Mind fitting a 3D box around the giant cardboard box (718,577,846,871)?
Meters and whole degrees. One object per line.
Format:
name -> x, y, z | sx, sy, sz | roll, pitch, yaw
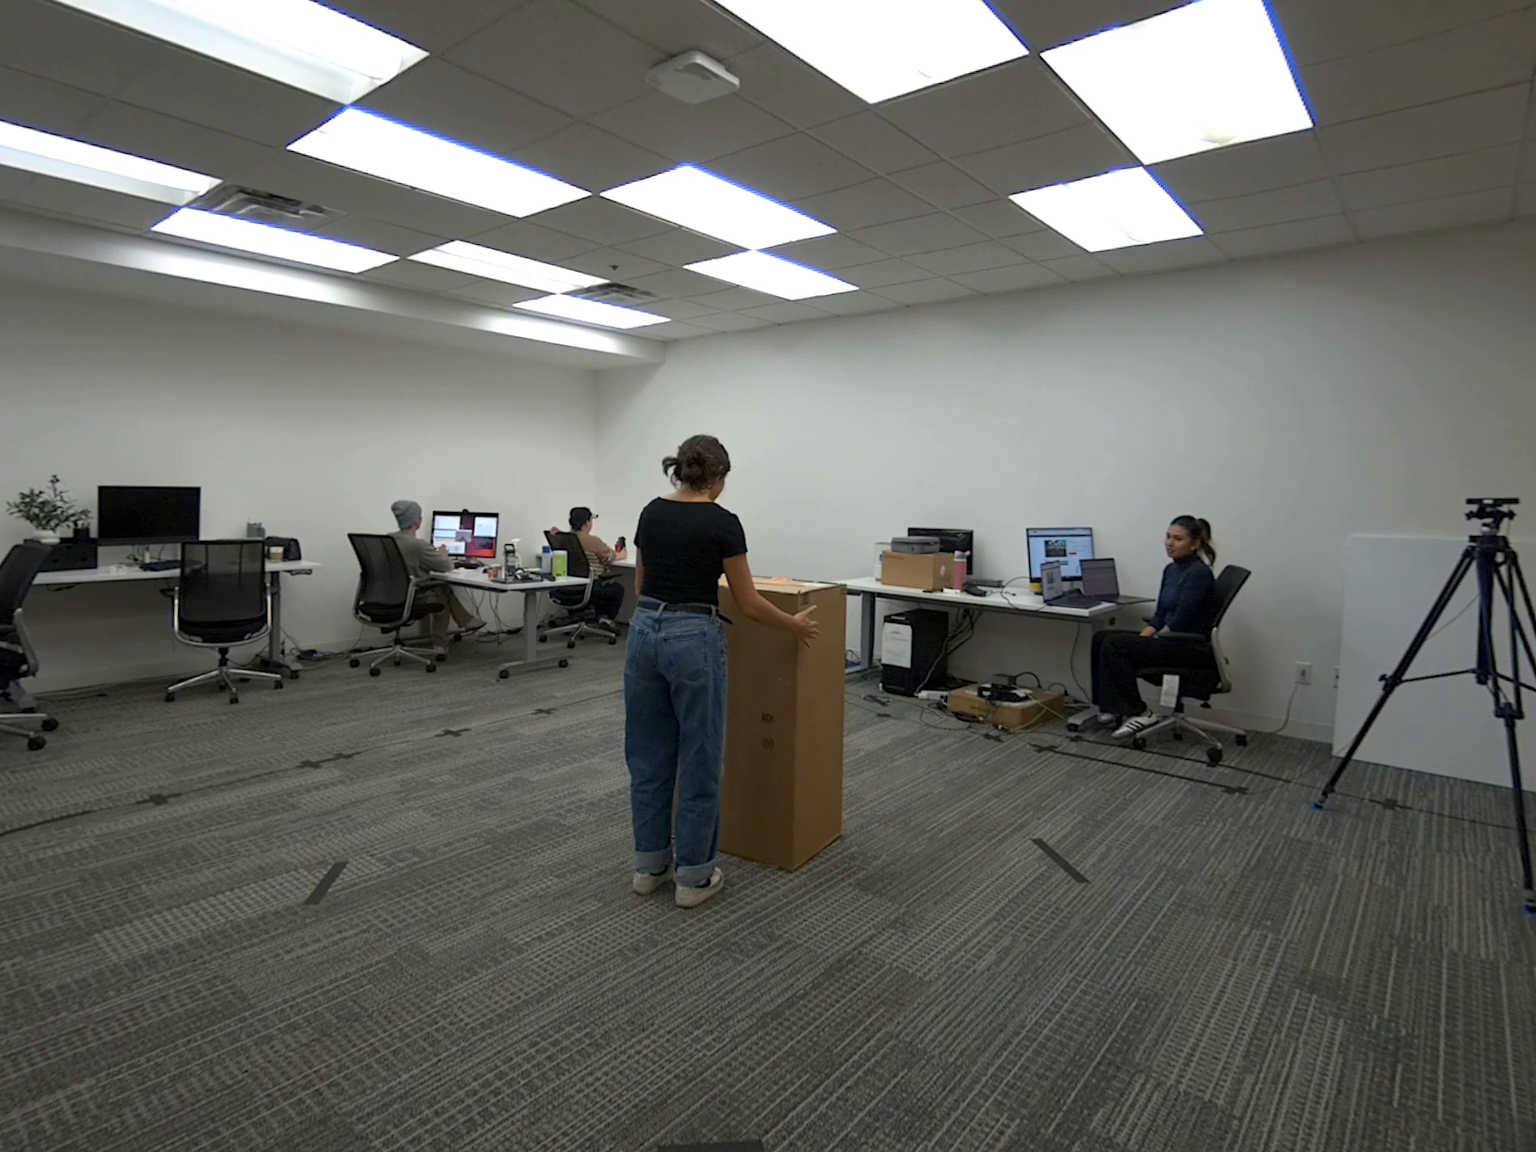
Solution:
giant cardboard box -> -0.045, 0.532, 3.399 | 0.595, 1.023, 0.415 | 3, 4, 32
